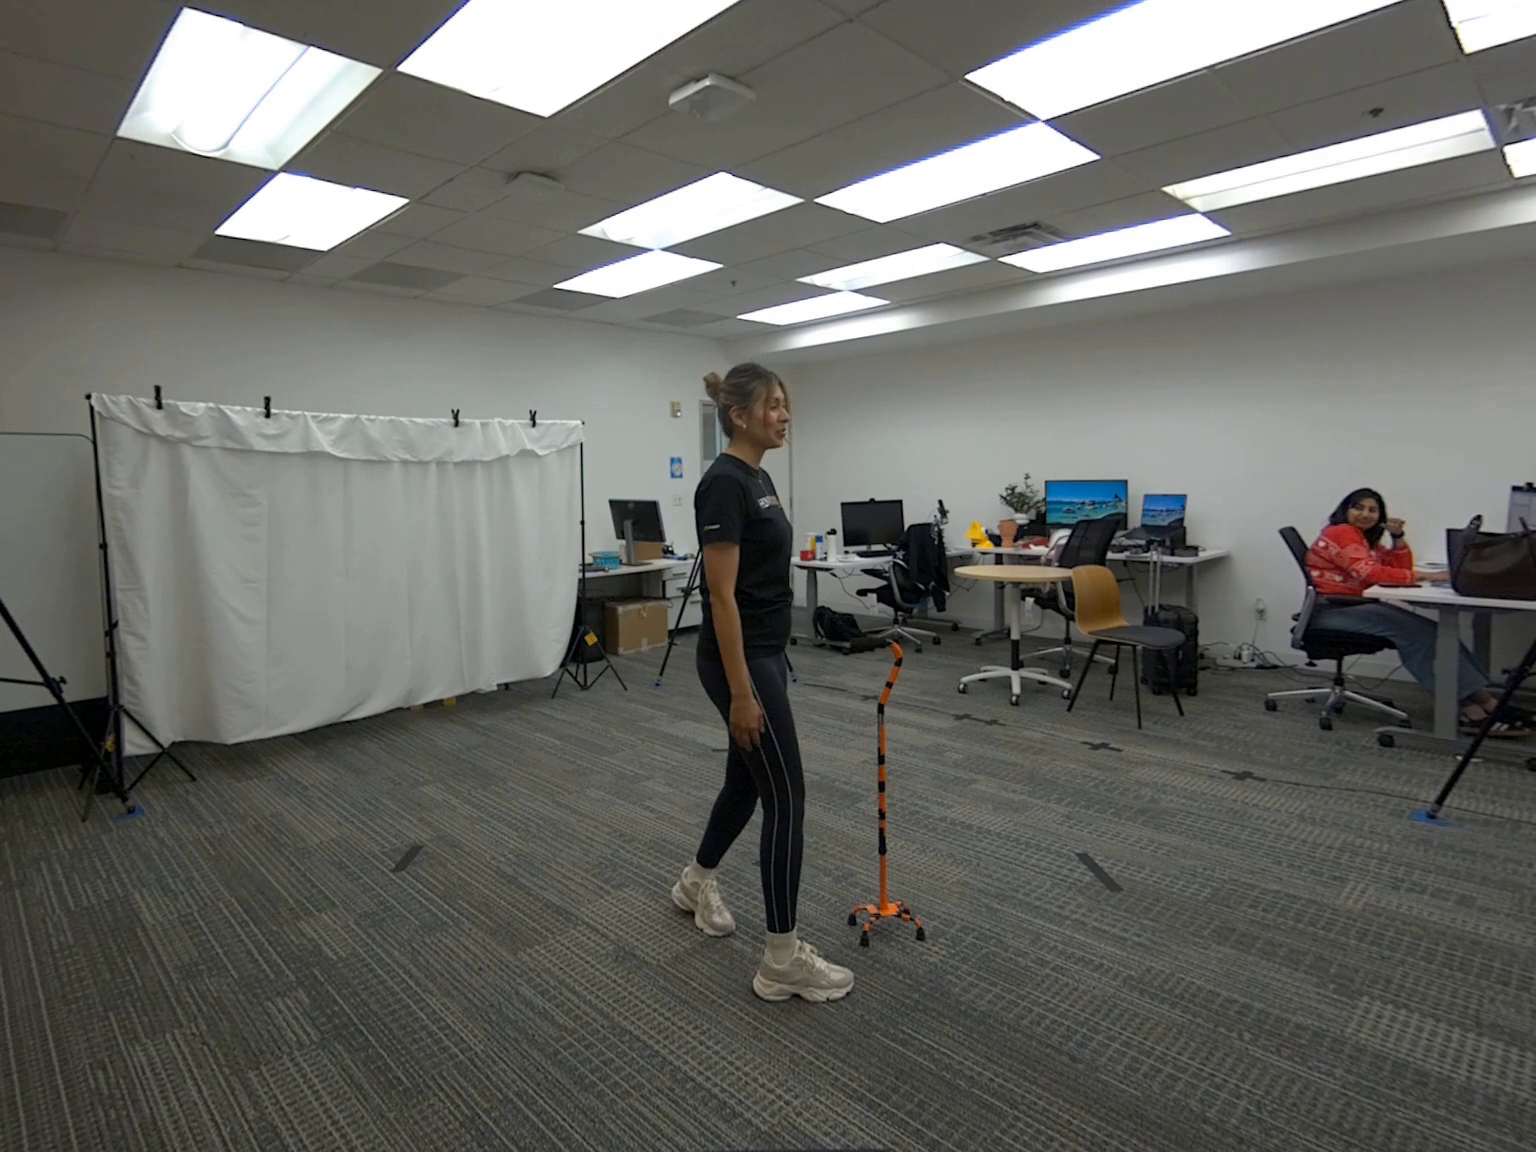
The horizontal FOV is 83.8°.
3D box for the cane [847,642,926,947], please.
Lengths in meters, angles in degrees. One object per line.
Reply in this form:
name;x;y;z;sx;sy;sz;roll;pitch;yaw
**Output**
cane;0.364;0.646;2.602;0.204;0.905;0.154;-2;3;-11
